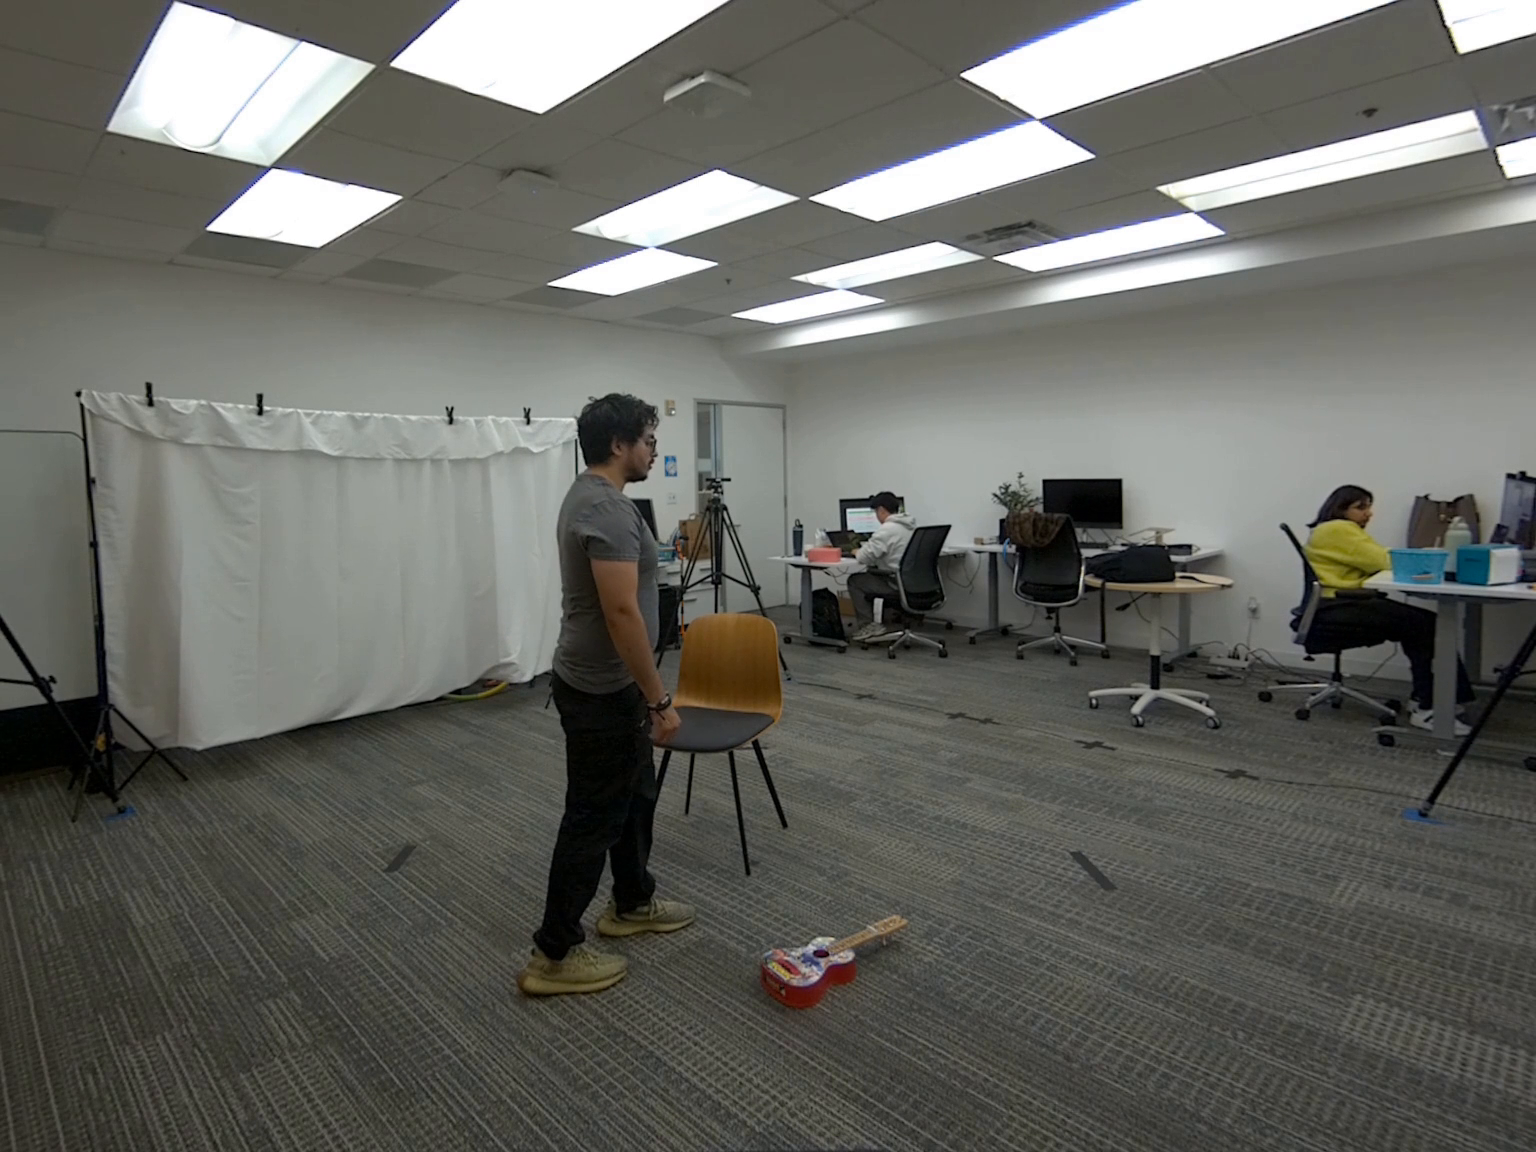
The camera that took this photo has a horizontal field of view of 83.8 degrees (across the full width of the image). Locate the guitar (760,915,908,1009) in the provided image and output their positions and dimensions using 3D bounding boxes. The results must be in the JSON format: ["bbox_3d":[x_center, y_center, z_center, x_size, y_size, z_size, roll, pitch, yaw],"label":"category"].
[{"bbox_3d":[0.233,1.087,2.415,0.487,0.070,0.198,-5,6,-26],"label":"guitar"}]
